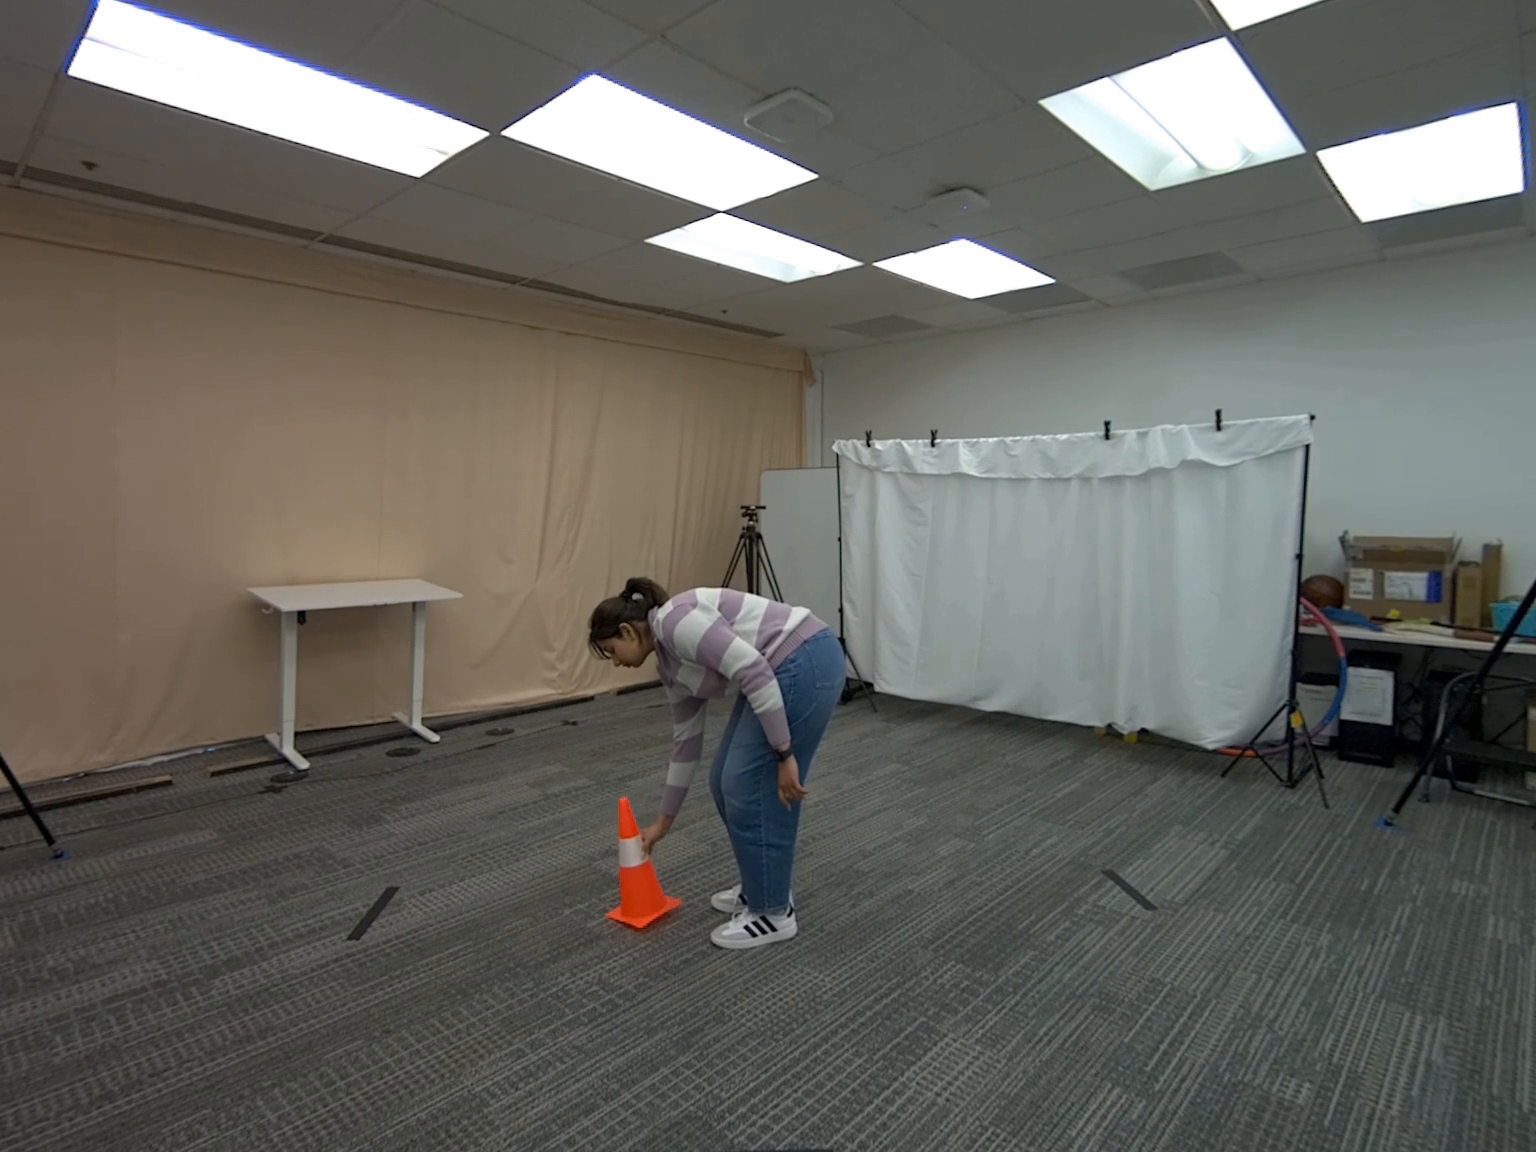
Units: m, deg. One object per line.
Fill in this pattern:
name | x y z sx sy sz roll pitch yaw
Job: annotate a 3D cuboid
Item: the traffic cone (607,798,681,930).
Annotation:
traffic cone | -0.459 0.946 2.867 0.209 0.383 0.199 -7 2 40
